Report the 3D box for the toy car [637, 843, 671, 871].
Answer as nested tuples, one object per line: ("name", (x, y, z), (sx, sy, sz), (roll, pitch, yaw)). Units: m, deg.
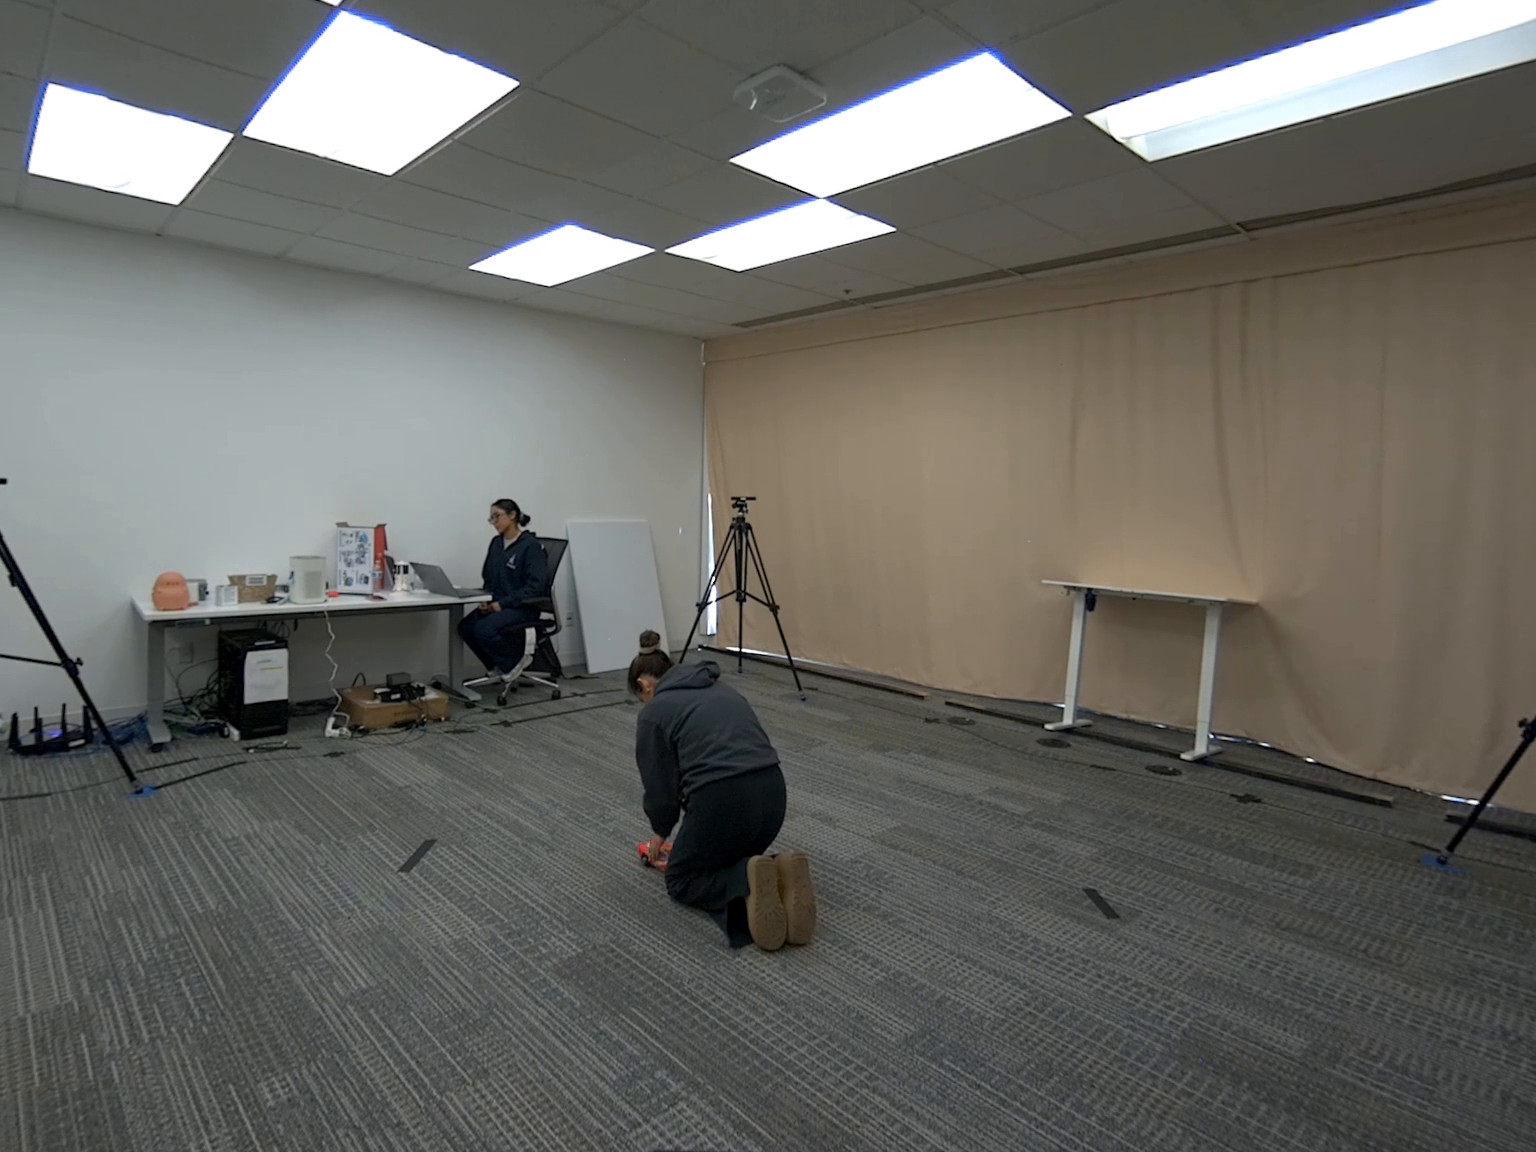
("toy car", (-0.402, 1.063, 3.183), (0.127, 0.082, 0.262), (-7, 23, -44))
